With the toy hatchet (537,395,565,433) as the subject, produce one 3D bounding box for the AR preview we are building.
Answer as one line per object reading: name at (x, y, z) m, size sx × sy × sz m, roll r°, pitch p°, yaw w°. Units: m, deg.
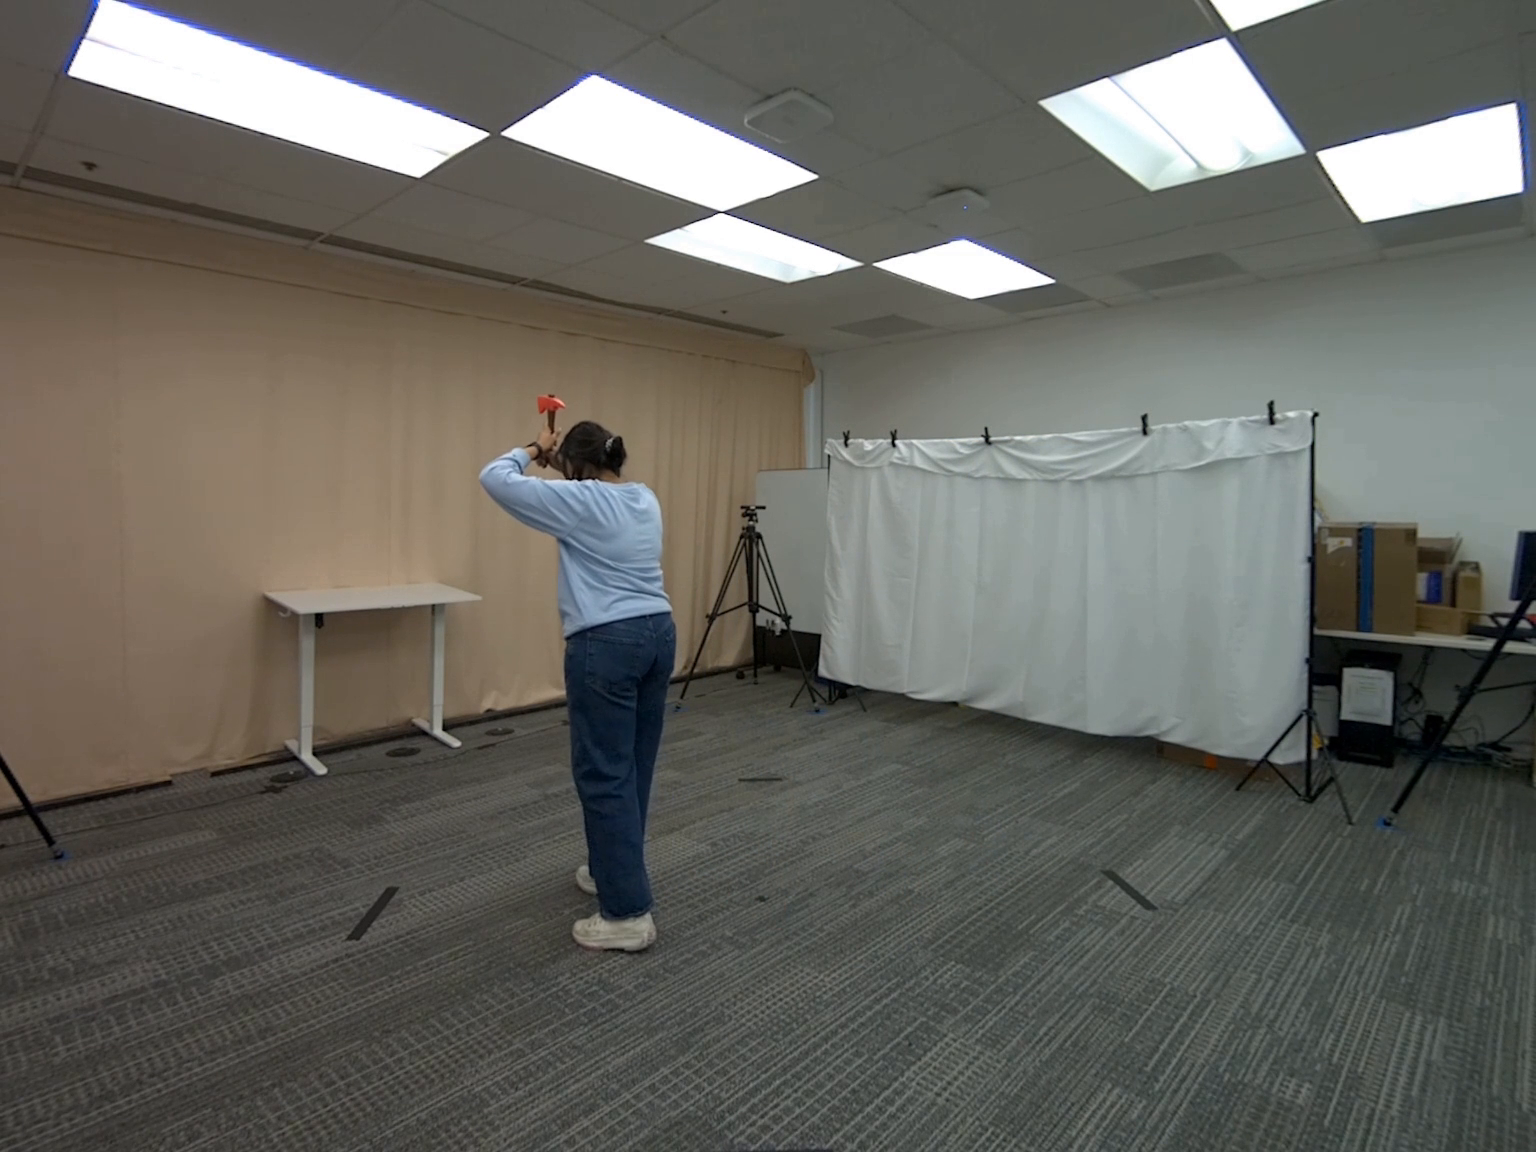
toy hatchet at (-0.793, -0.522, 2.962) m, size 0.134 × 0.269 × 0.029 m, roll 39°, pitch 33°, yaw 18°
